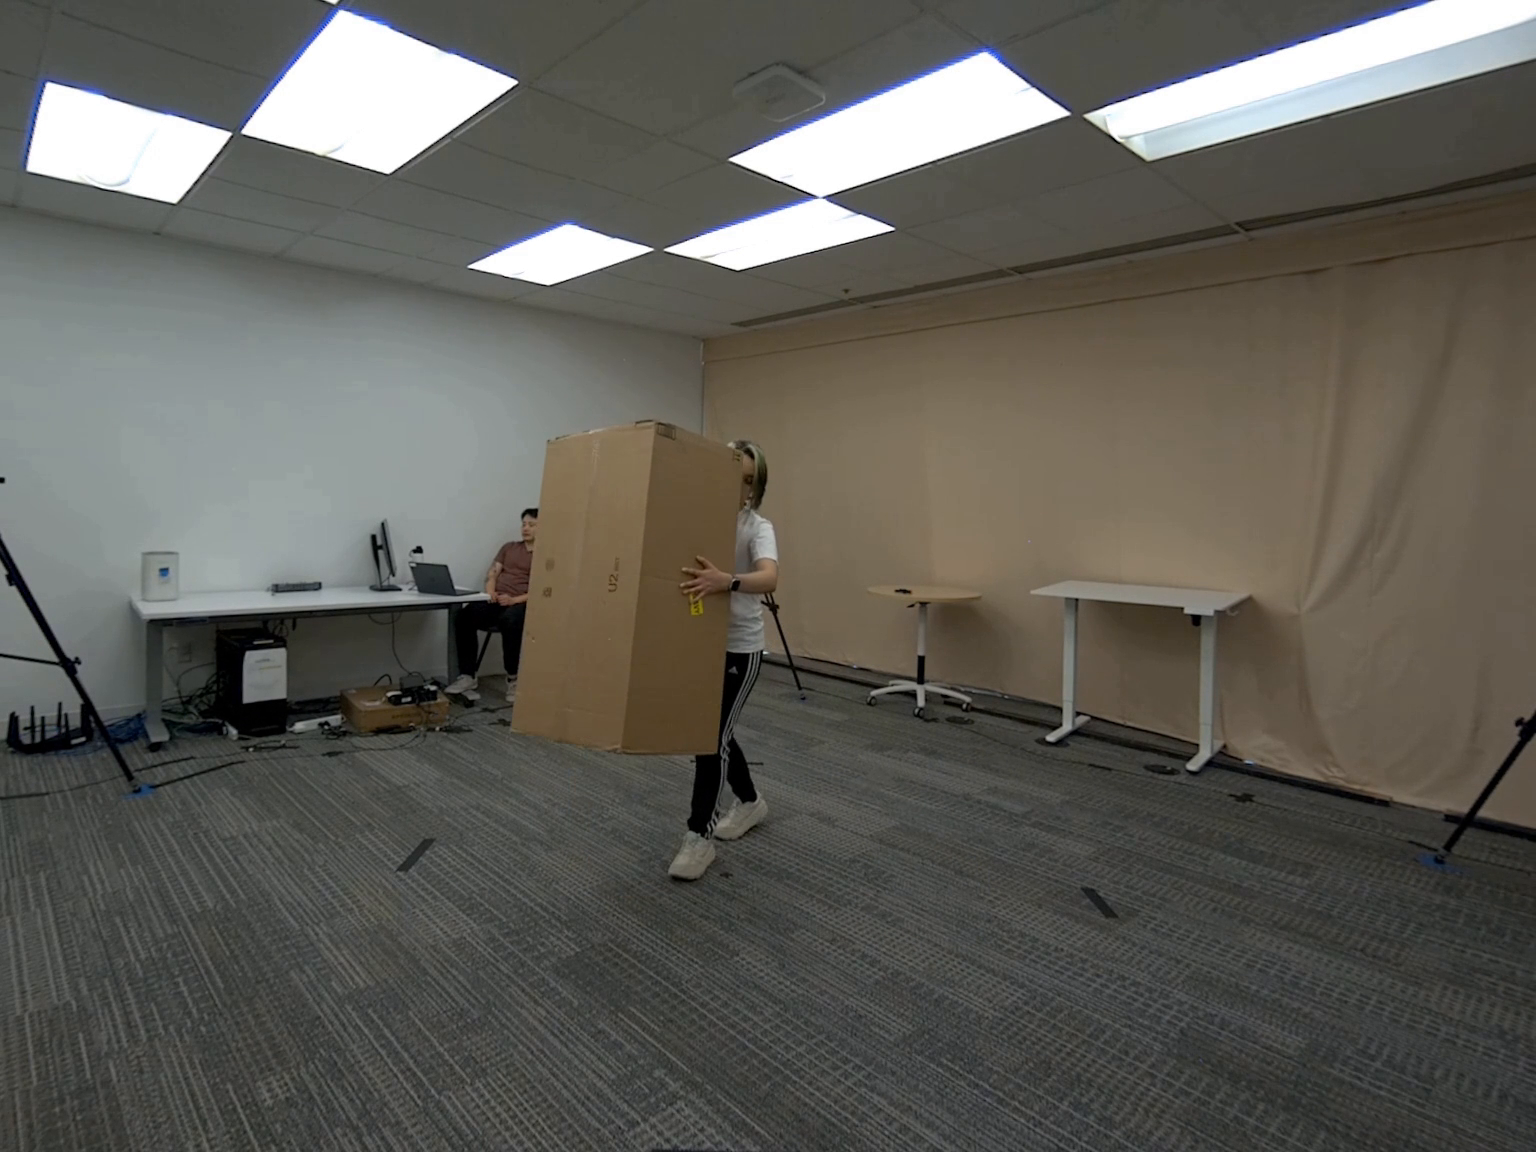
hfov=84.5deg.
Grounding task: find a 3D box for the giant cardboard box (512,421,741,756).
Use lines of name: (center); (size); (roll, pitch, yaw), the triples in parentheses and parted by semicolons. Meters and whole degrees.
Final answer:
giant cardboard box: (-0.479, 0.054, 2.868); (0.597, 1.033, 0.434); (-2, -11, 40)
